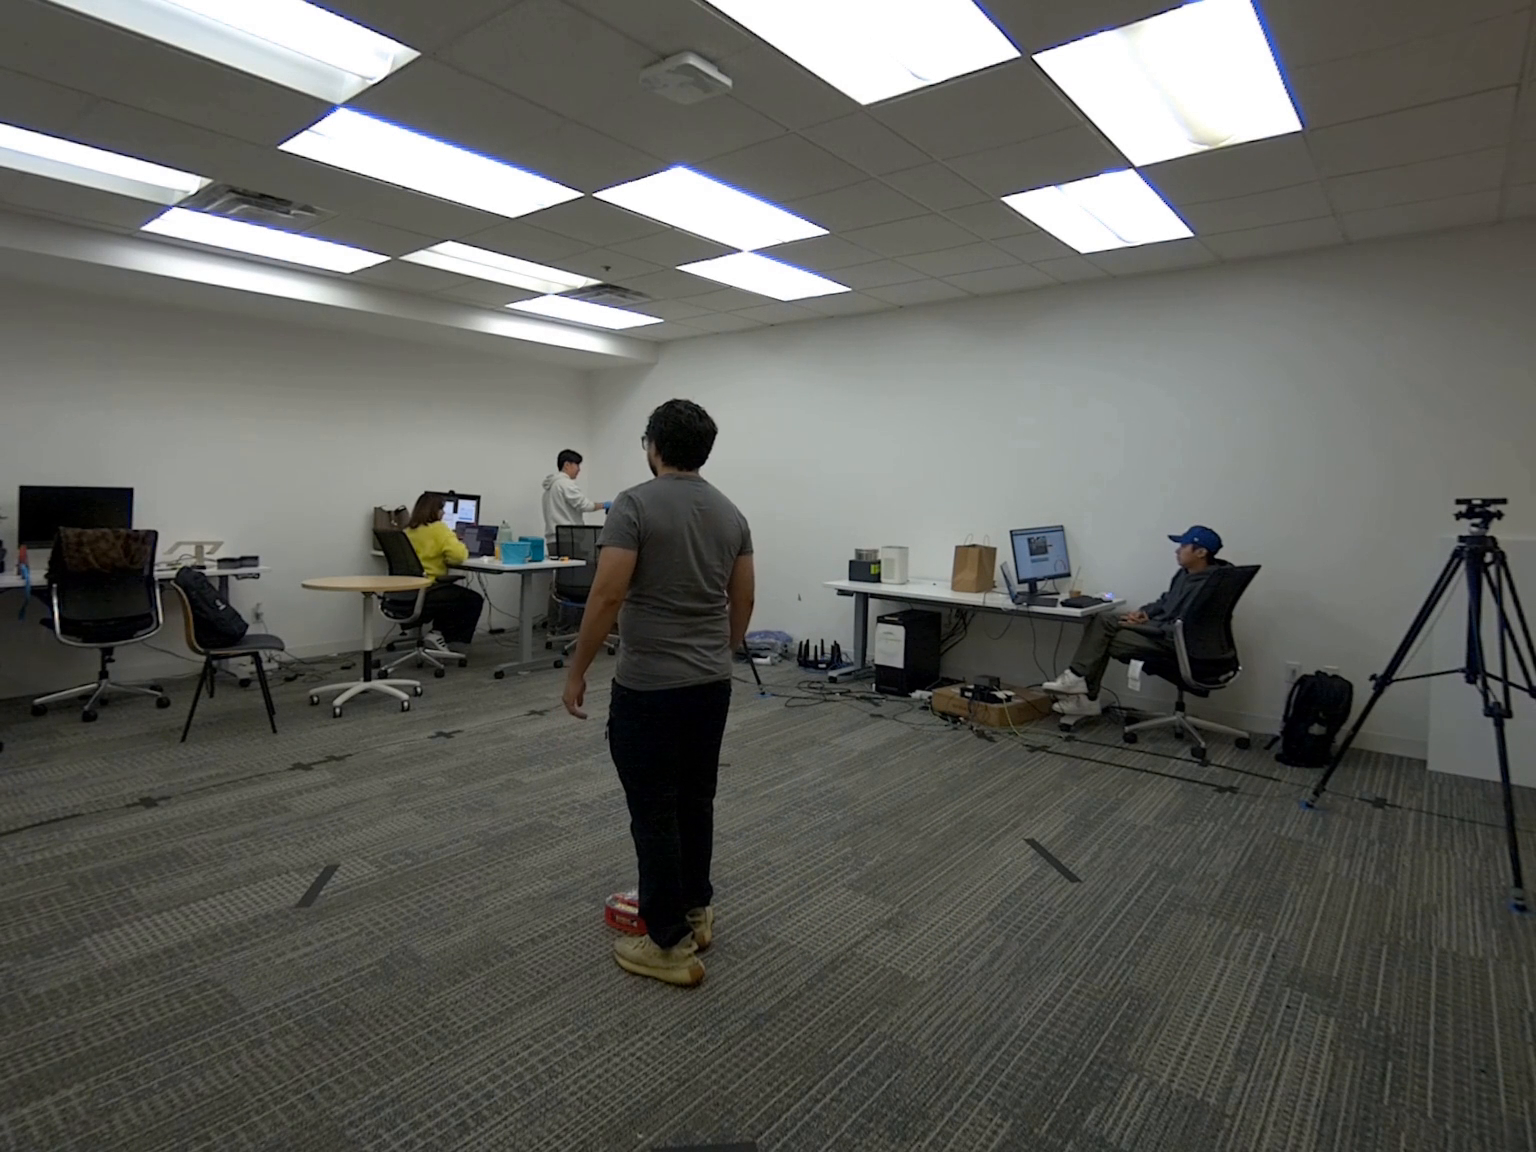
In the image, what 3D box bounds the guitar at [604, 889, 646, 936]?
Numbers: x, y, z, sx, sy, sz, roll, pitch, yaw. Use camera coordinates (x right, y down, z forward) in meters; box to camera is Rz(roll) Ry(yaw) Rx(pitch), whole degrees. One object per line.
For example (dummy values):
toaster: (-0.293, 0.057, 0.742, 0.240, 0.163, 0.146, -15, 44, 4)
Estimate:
guitar: (-0.332, 1.054, 2.861, 0.199, 0.070, 0.484, 4, 6, 34)
